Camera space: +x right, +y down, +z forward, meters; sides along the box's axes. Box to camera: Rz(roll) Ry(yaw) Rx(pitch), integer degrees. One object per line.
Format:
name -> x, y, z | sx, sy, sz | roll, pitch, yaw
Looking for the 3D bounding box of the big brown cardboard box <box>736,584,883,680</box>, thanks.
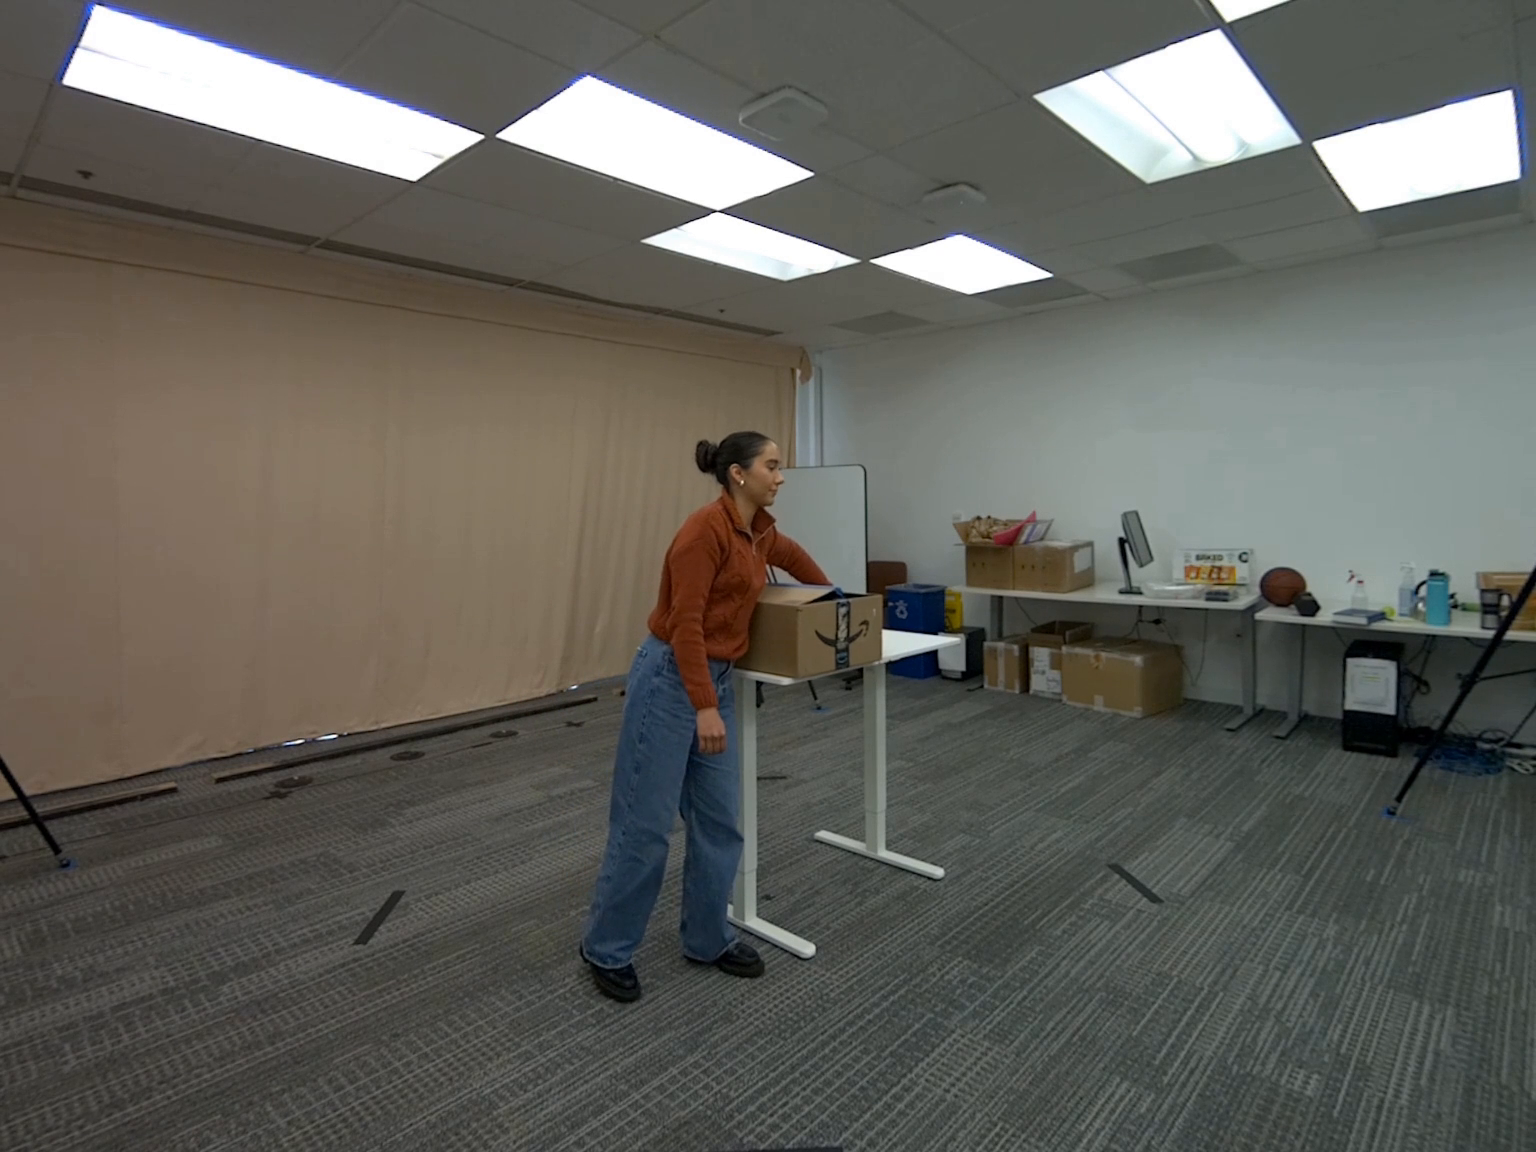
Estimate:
big brown cardboard box -> 0.025, 0.164, 2.772 | 0.608, 0.233, 0.405 | 3, 5, 44
